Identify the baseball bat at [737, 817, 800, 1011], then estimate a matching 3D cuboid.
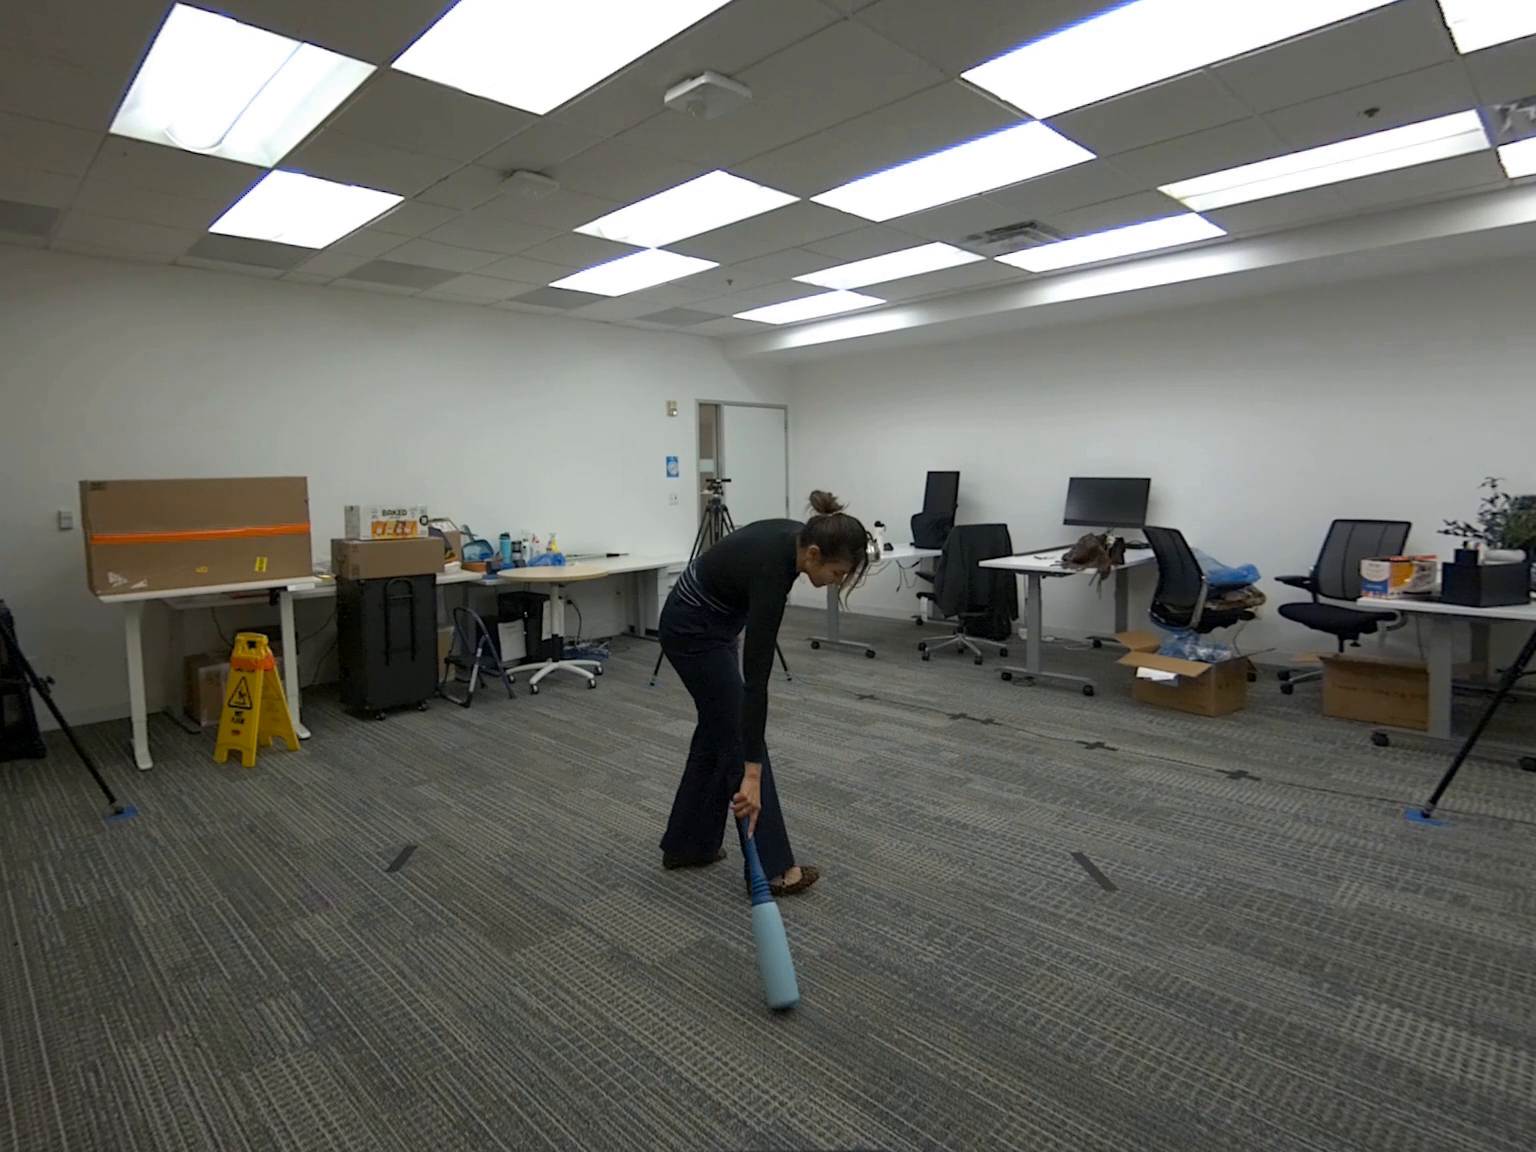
[{"bbox_3d":[-0.005,0.901,2.370,0.088,0.559,0.087,-11,-29,-8],"label":"baseball bat"}]
